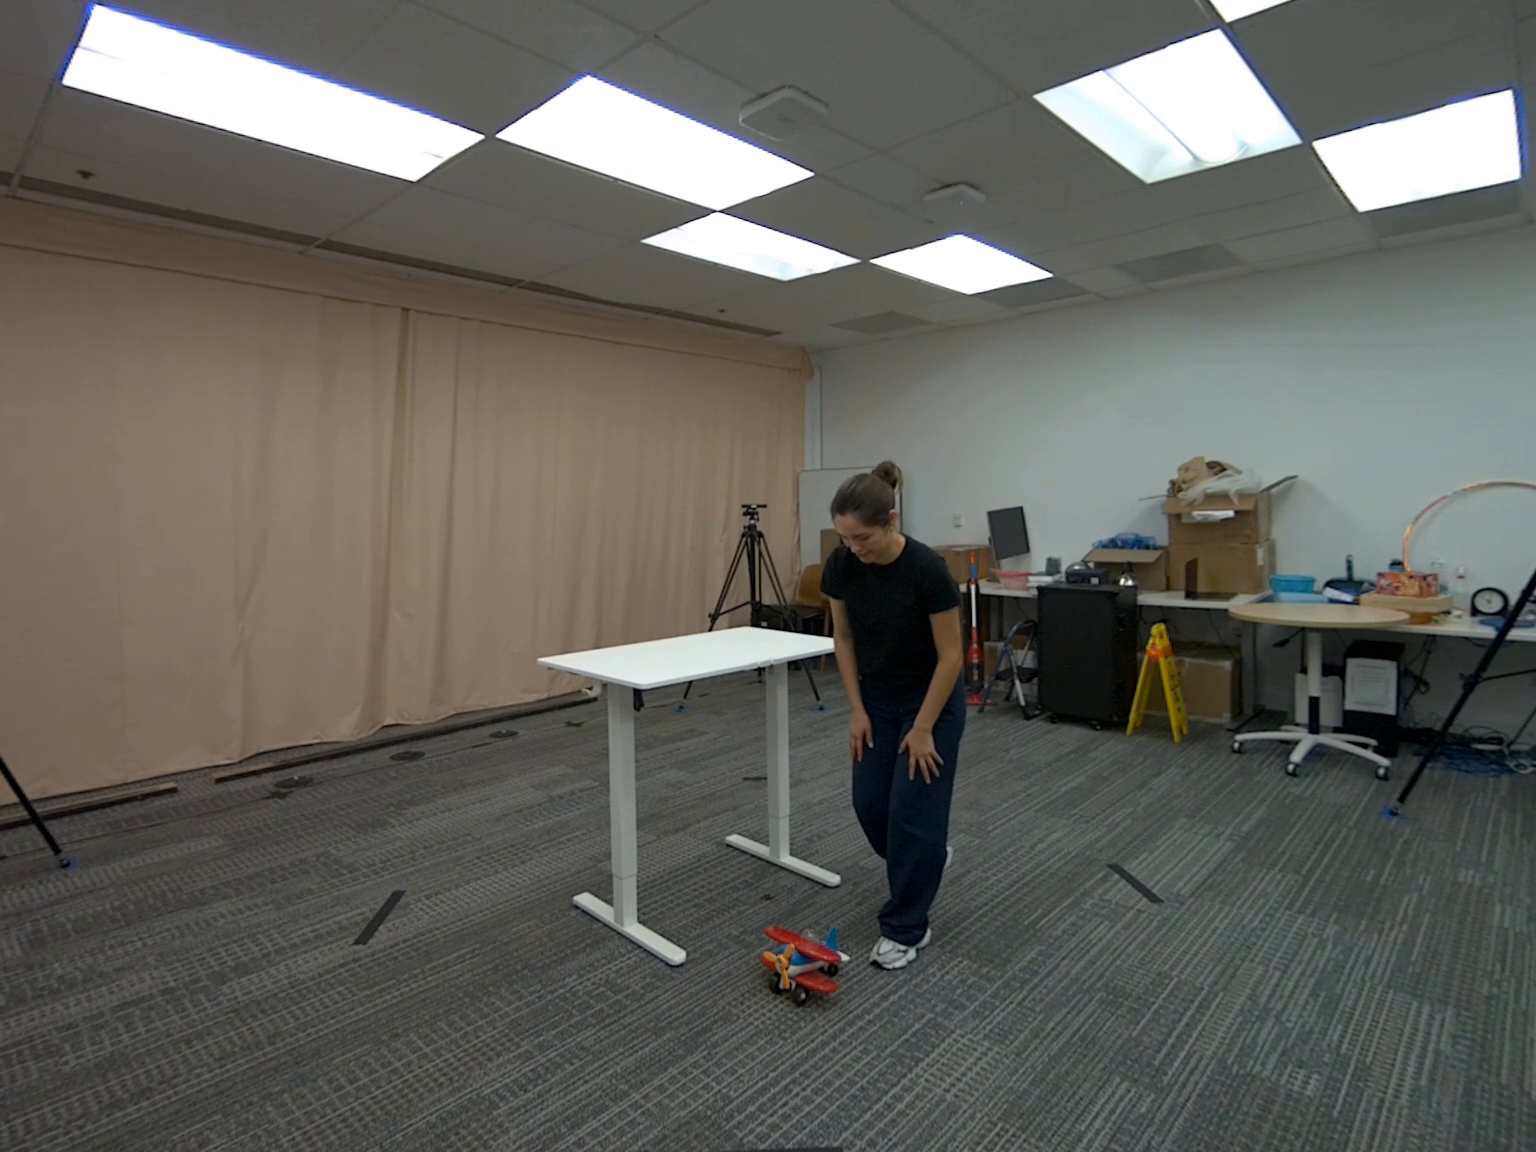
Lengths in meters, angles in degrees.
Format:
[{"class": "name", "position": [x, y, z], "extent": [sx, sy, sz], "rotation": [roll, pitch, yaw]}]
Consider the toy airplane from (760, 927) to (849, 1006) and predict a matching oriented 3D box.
[{"class": "toy airplane", "position": [0.117, 1.109, 2.440], "extent": [0.255, 0.156, 0.256], "rotation": [-1, 6, 15]}]
